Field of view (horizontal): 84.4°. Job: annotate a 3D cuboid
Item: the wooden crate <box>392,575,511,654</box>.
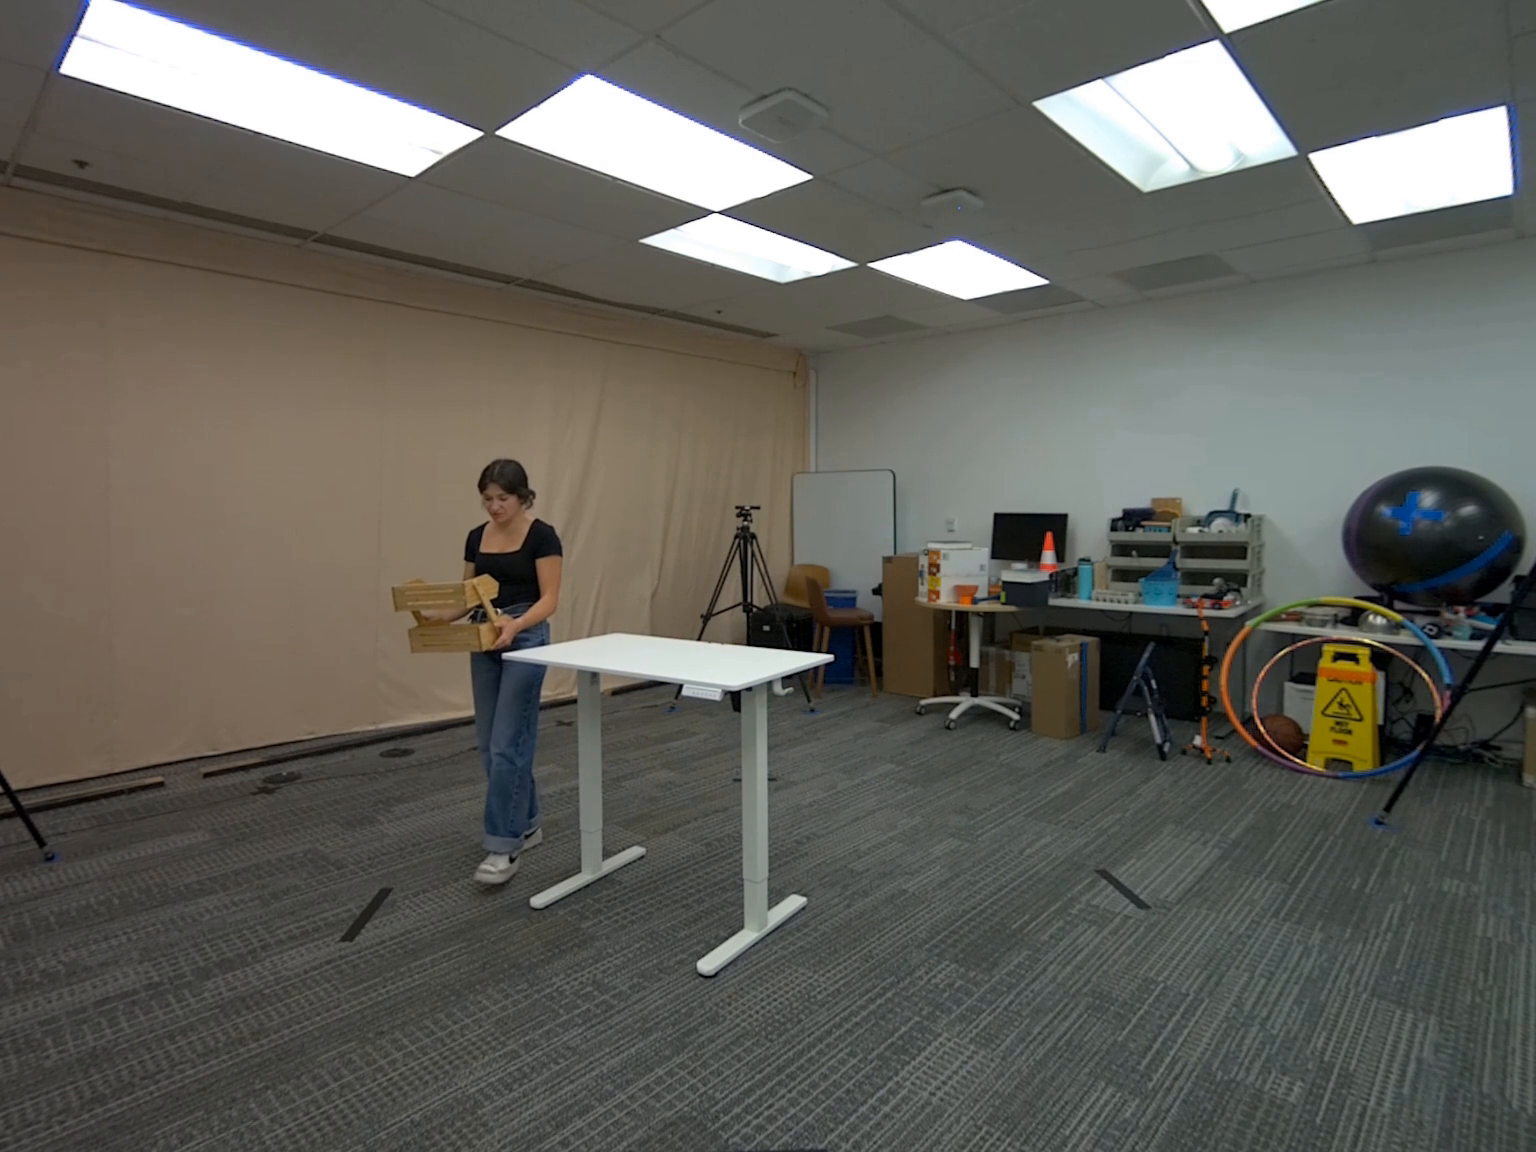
[{"bbox_3d":[-1.142,0.124,3.091,0.330,0.271,0.299,-3,9,16],"label":"wooden crate"}]
